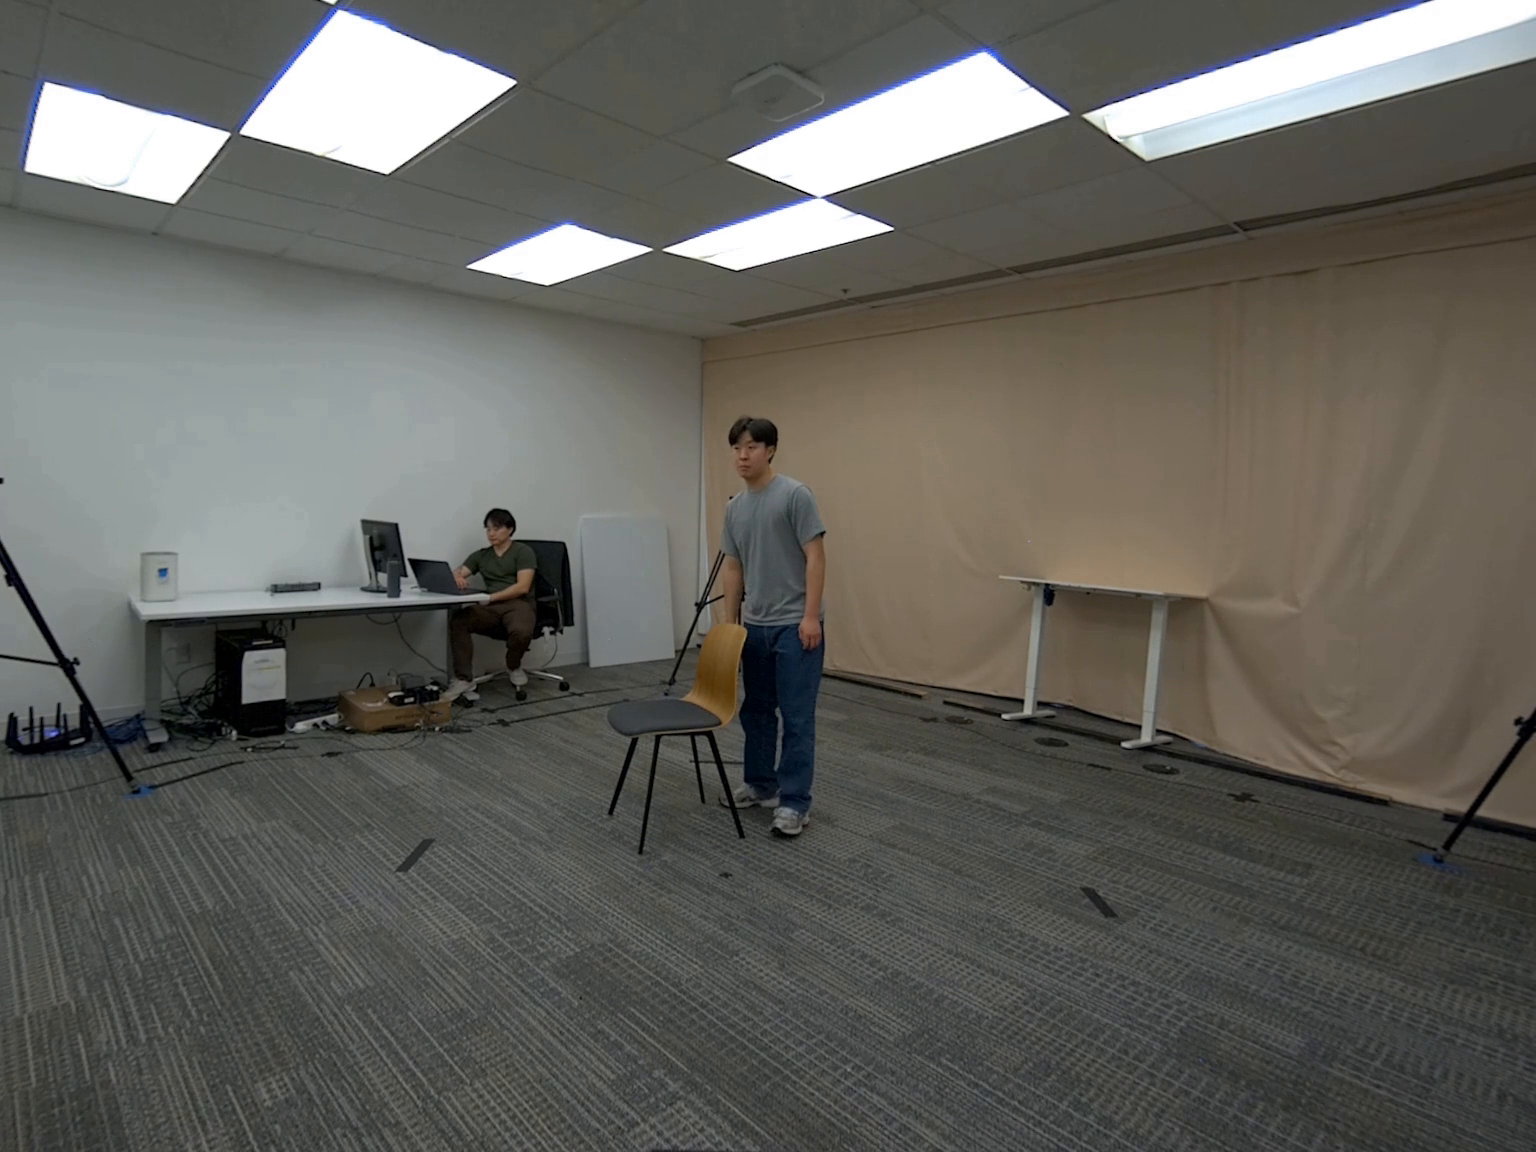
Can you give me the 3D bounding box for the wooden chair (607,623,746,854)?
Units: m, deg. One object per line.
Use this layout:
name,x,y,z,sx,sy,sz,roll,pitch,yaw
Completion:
wooden chair,-0.397,0.633,3.517,0.513,0.876,0.488,5,2,-25
